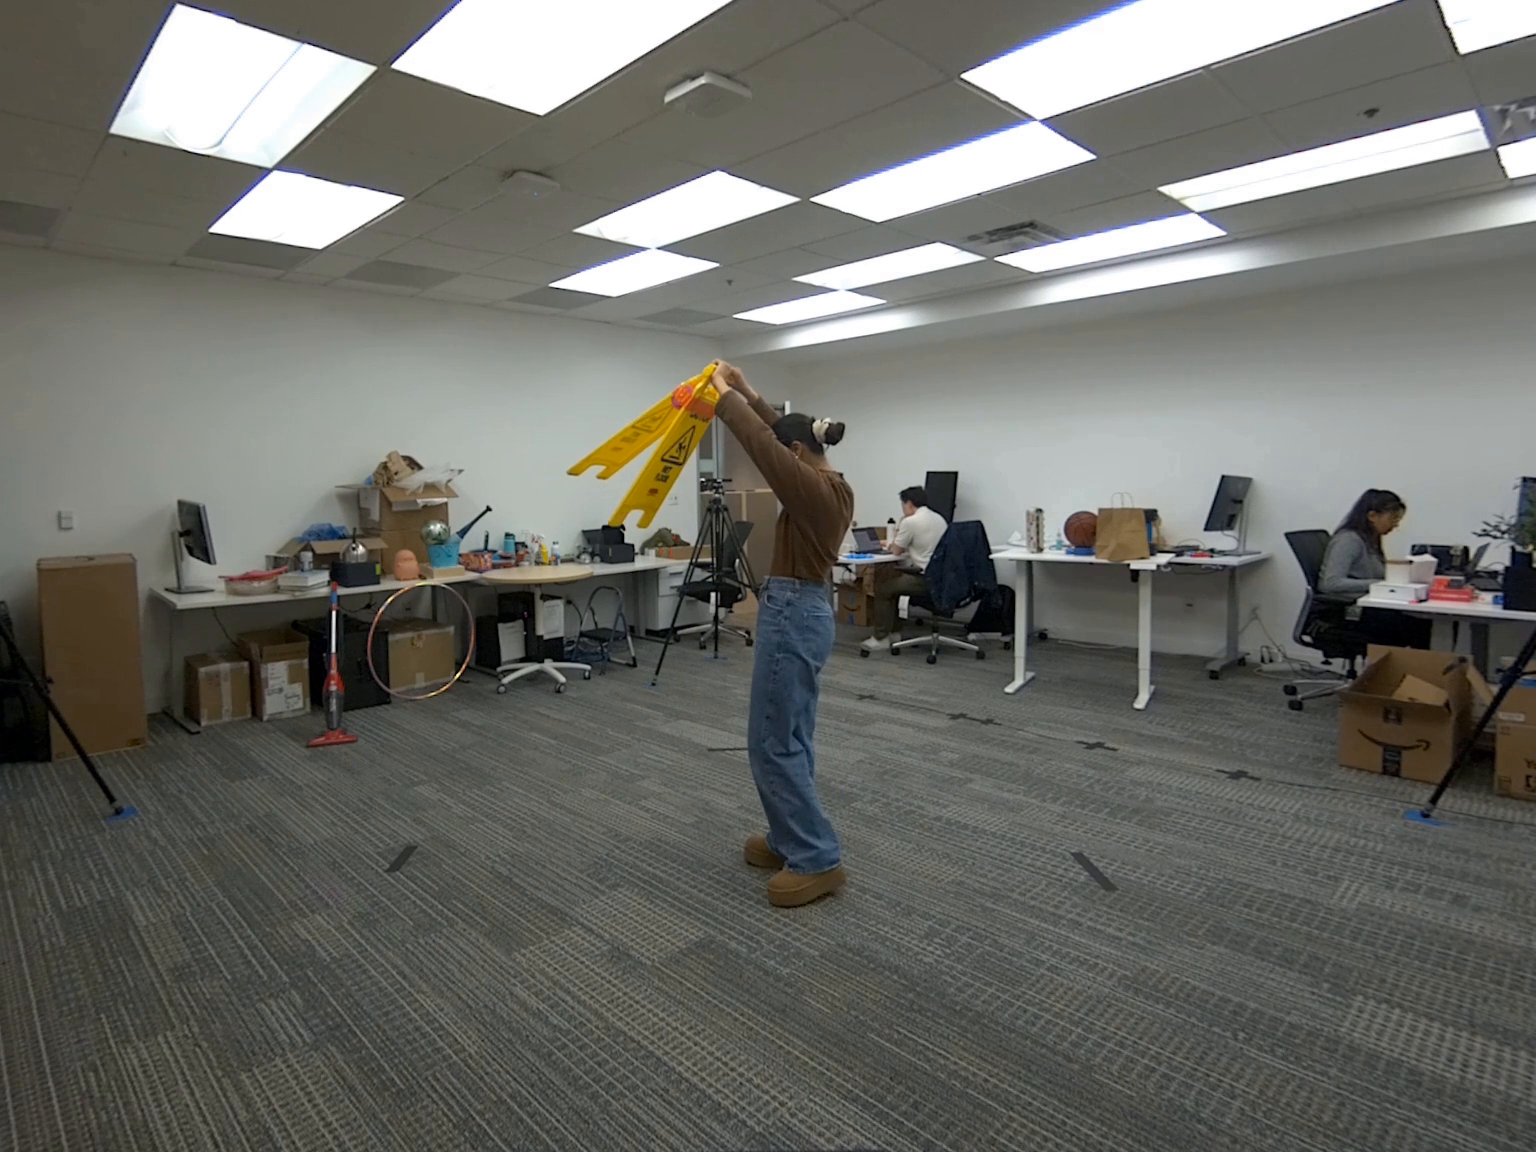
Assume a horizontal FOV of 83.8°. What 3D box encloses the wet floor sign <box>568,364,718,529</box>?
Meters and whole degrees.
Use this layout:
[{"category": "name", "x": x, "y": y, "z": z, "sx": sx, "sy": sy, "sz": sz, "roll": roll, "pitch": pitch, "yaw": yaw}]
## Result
[{"category": "wet floor sign", "x": -0.373, "y": -0.491, "z": 3.042, "sx": 0.296, "sy": 0.646, "sz": 0.277, "roll": 47, "pitch": 14, "yaw": 14}]
